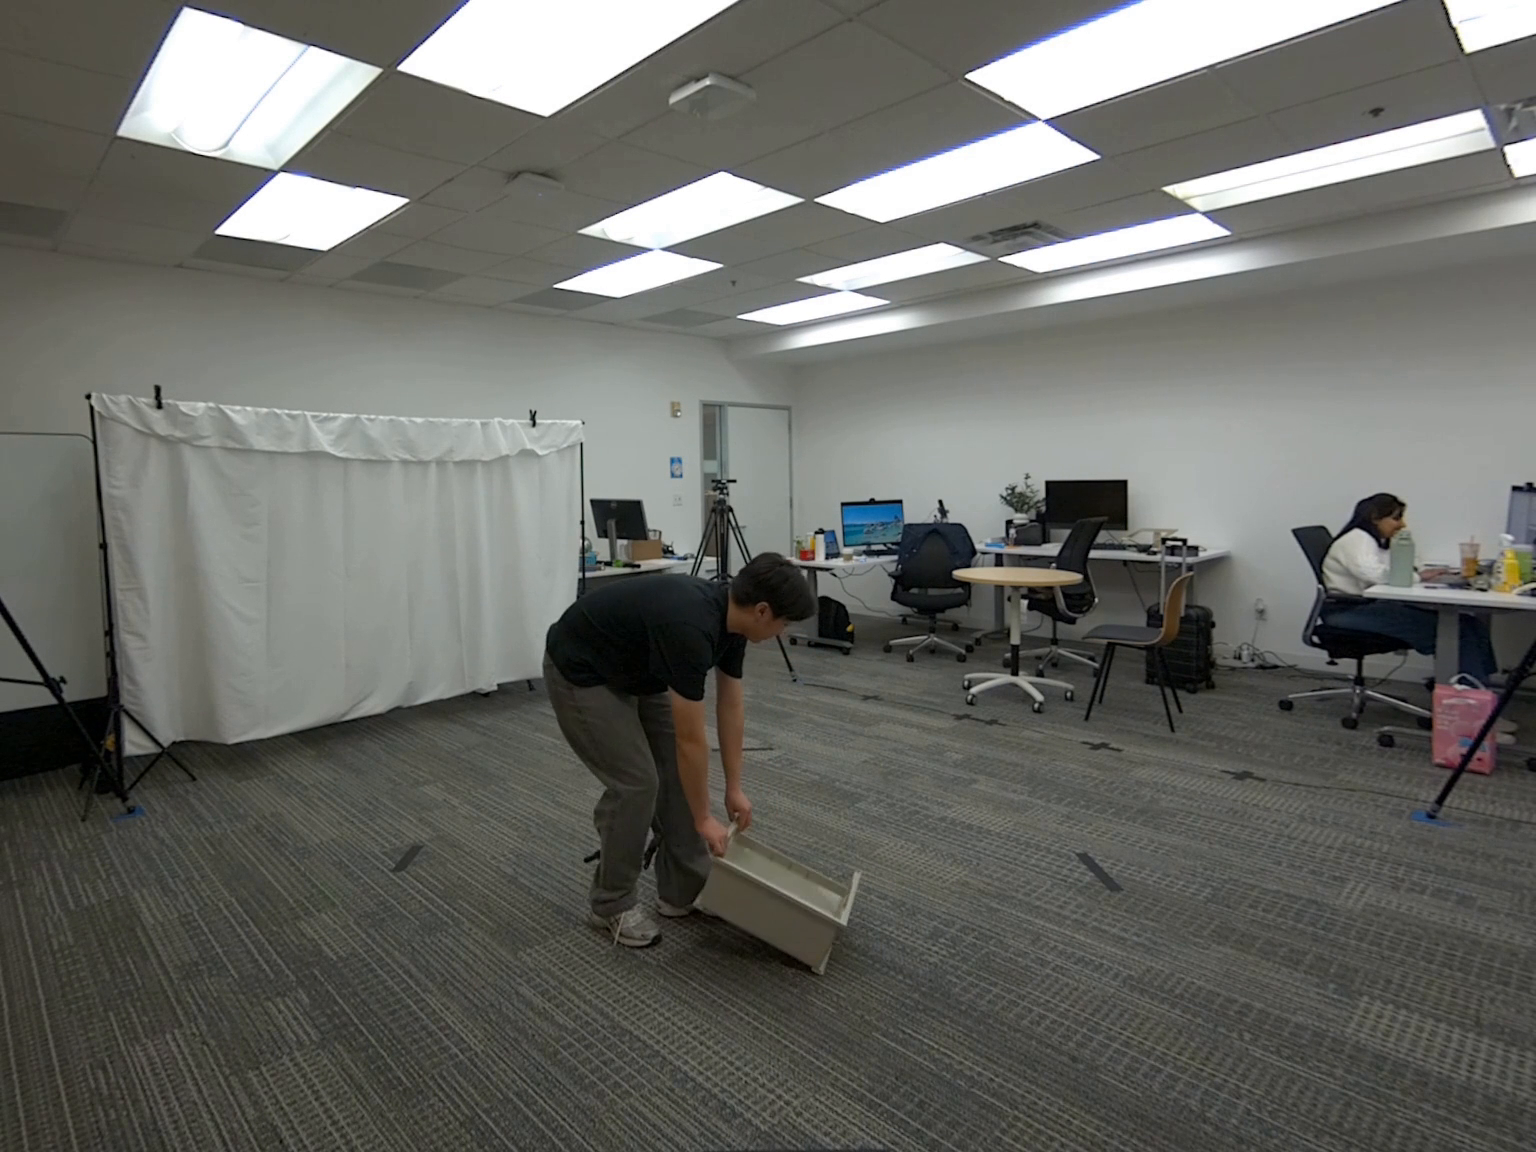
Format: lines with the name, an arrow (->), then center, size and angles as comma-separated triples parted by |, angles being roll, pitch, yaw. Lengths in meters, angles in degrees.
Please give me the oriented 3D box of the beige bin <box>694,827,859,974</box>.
beige bin -> 0.042, 0.944, 2.598 | 0.430, 0.188, 0.373 | 22, 12, 13
